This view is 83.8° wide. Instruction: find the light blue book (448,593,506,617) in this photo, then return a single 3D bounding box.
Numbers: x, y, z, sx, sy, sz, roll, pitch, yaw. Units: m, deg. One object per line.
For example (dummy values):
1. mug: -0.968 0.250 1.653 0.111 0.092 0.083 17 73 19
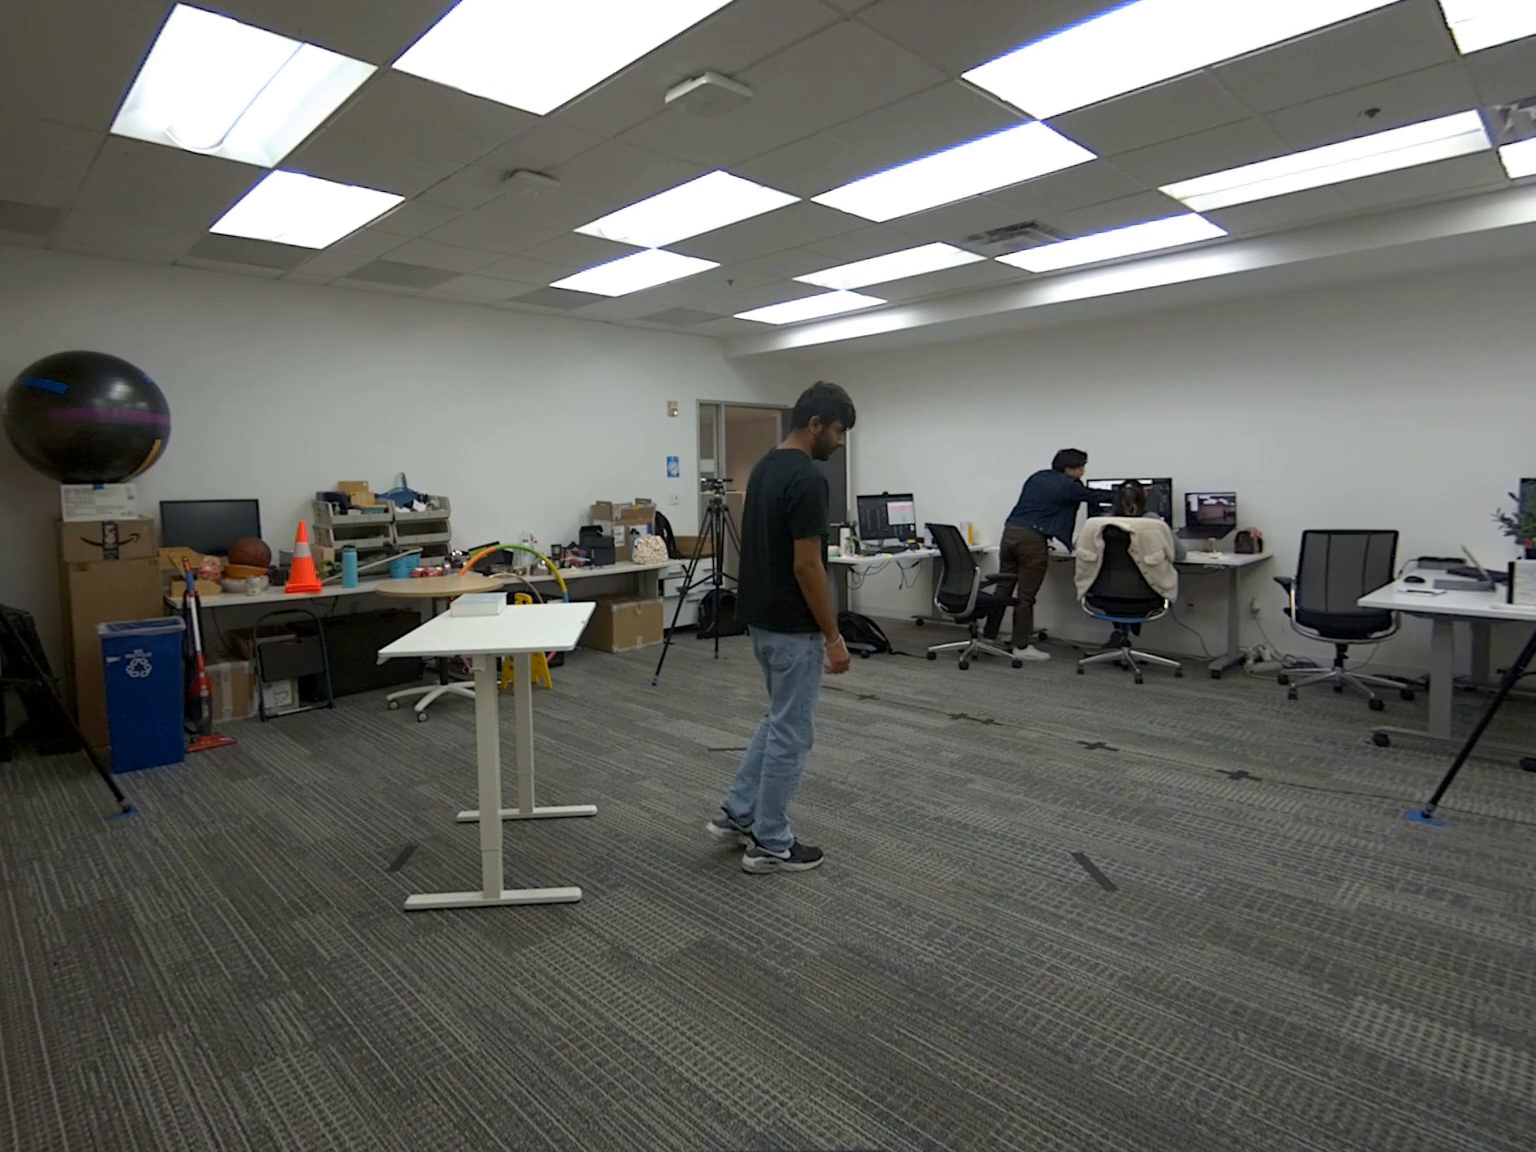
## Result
1. light blue book: -1.166 0.112 3.484 0.190 0.059 0.264 -3 6 -10
